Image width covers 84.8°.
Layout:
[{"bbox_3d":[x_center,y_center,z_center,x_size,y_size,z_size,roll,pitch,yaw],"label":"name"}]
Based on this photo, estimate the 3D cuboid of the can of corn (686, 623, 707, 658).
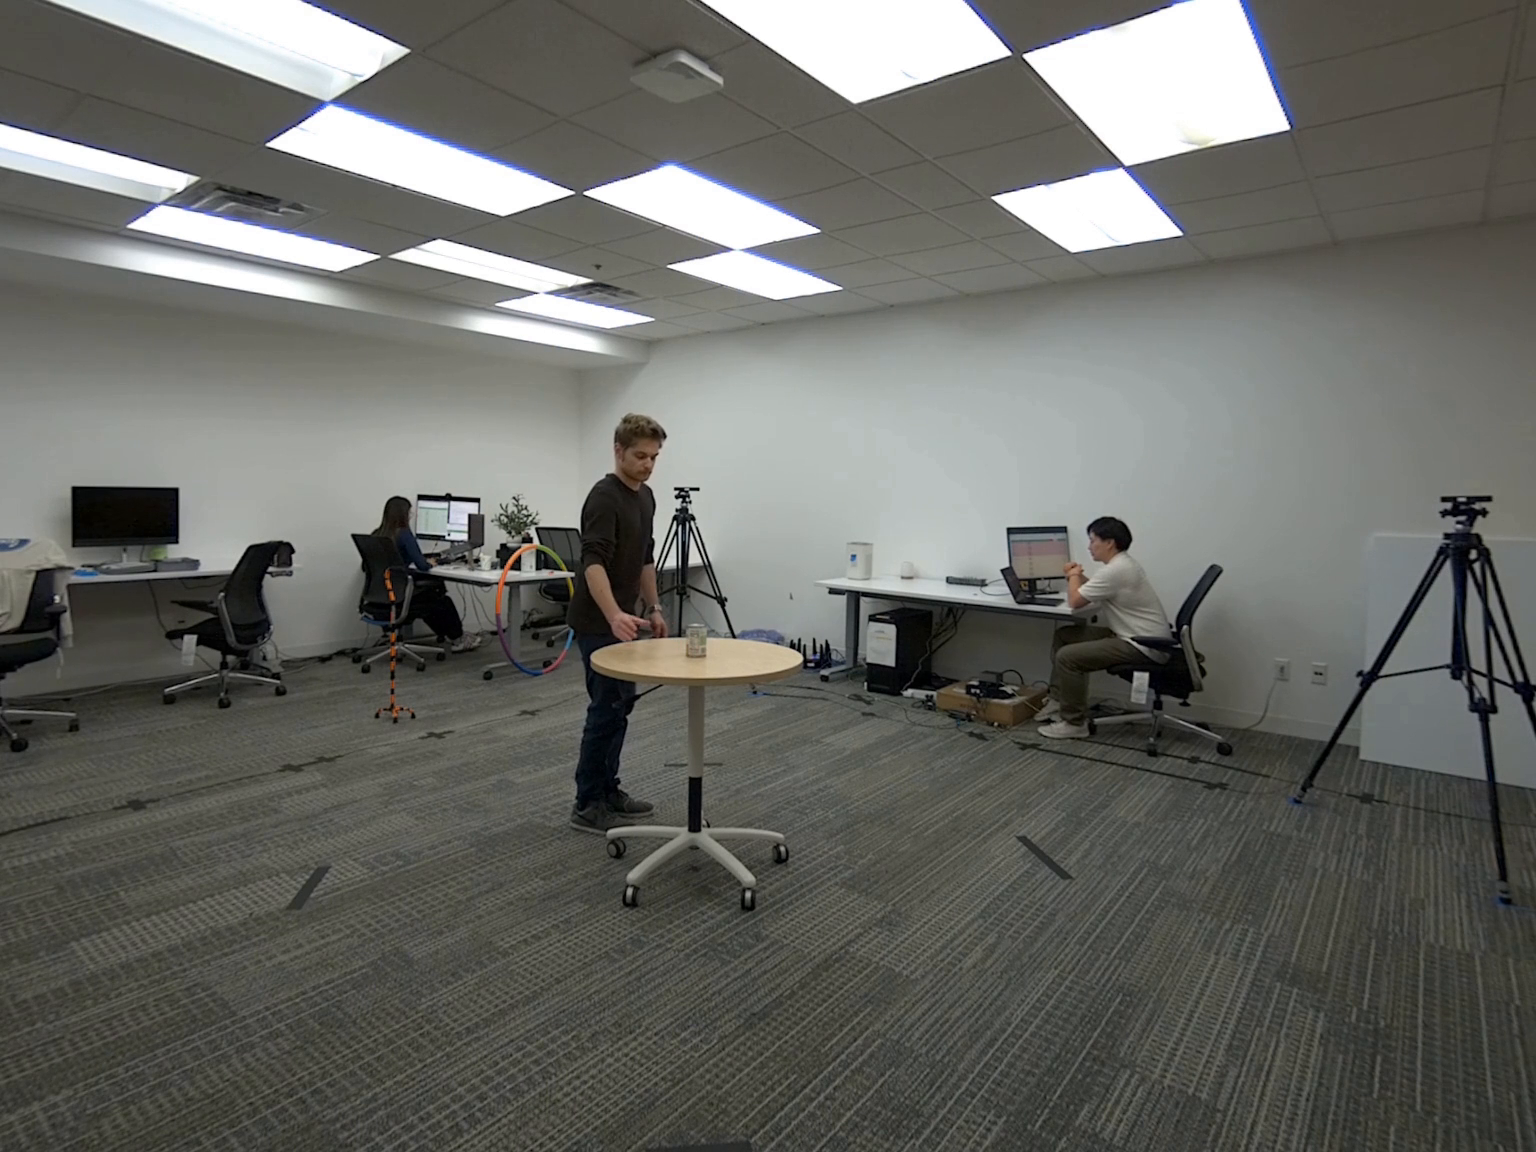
[{"bbox_3d":[-0.269,0.232,3.056,0.074,0.111,0.074,1,2,-2],"label":"can of corn"}]
